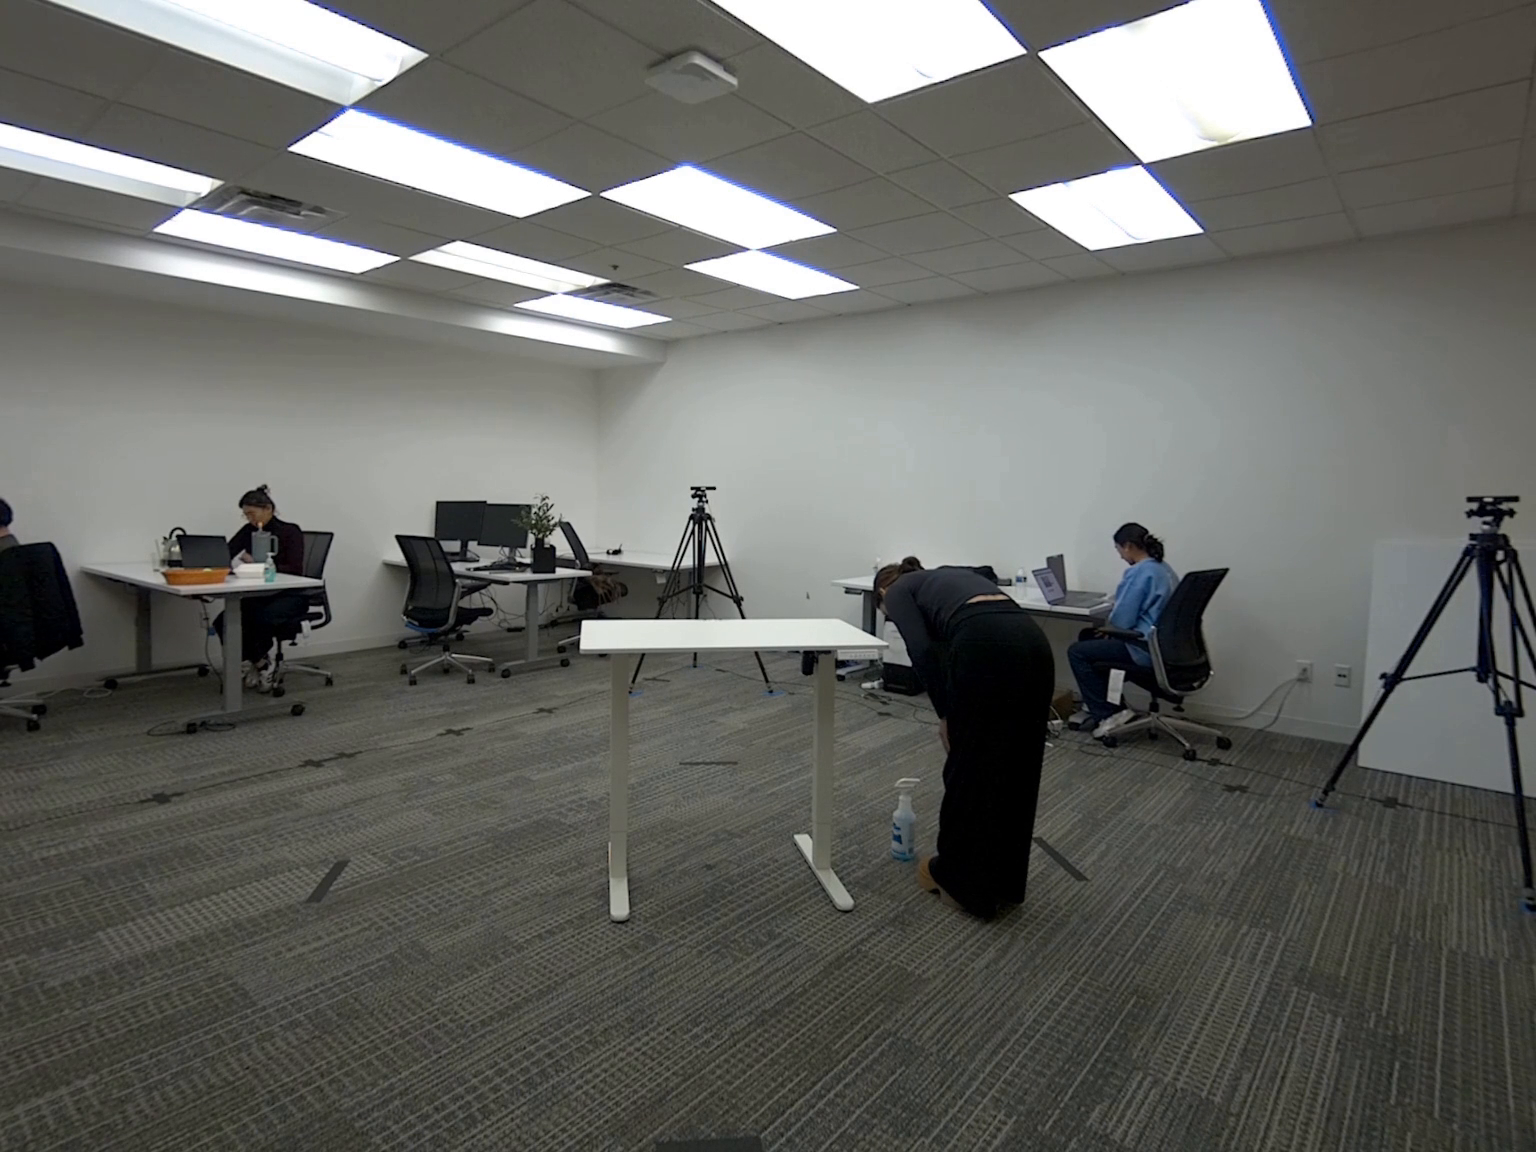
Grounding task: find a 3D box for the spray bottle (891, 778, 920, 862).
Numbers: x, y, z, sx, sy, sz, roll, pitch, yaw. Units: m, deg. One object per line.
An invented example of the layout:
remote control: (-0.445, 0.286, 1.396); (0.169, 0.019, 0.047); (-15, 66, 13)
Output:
spray bottle: (0.516, 0.919, 3.248); (0.092, 0.296, 0.085); (3, 3, 25)
